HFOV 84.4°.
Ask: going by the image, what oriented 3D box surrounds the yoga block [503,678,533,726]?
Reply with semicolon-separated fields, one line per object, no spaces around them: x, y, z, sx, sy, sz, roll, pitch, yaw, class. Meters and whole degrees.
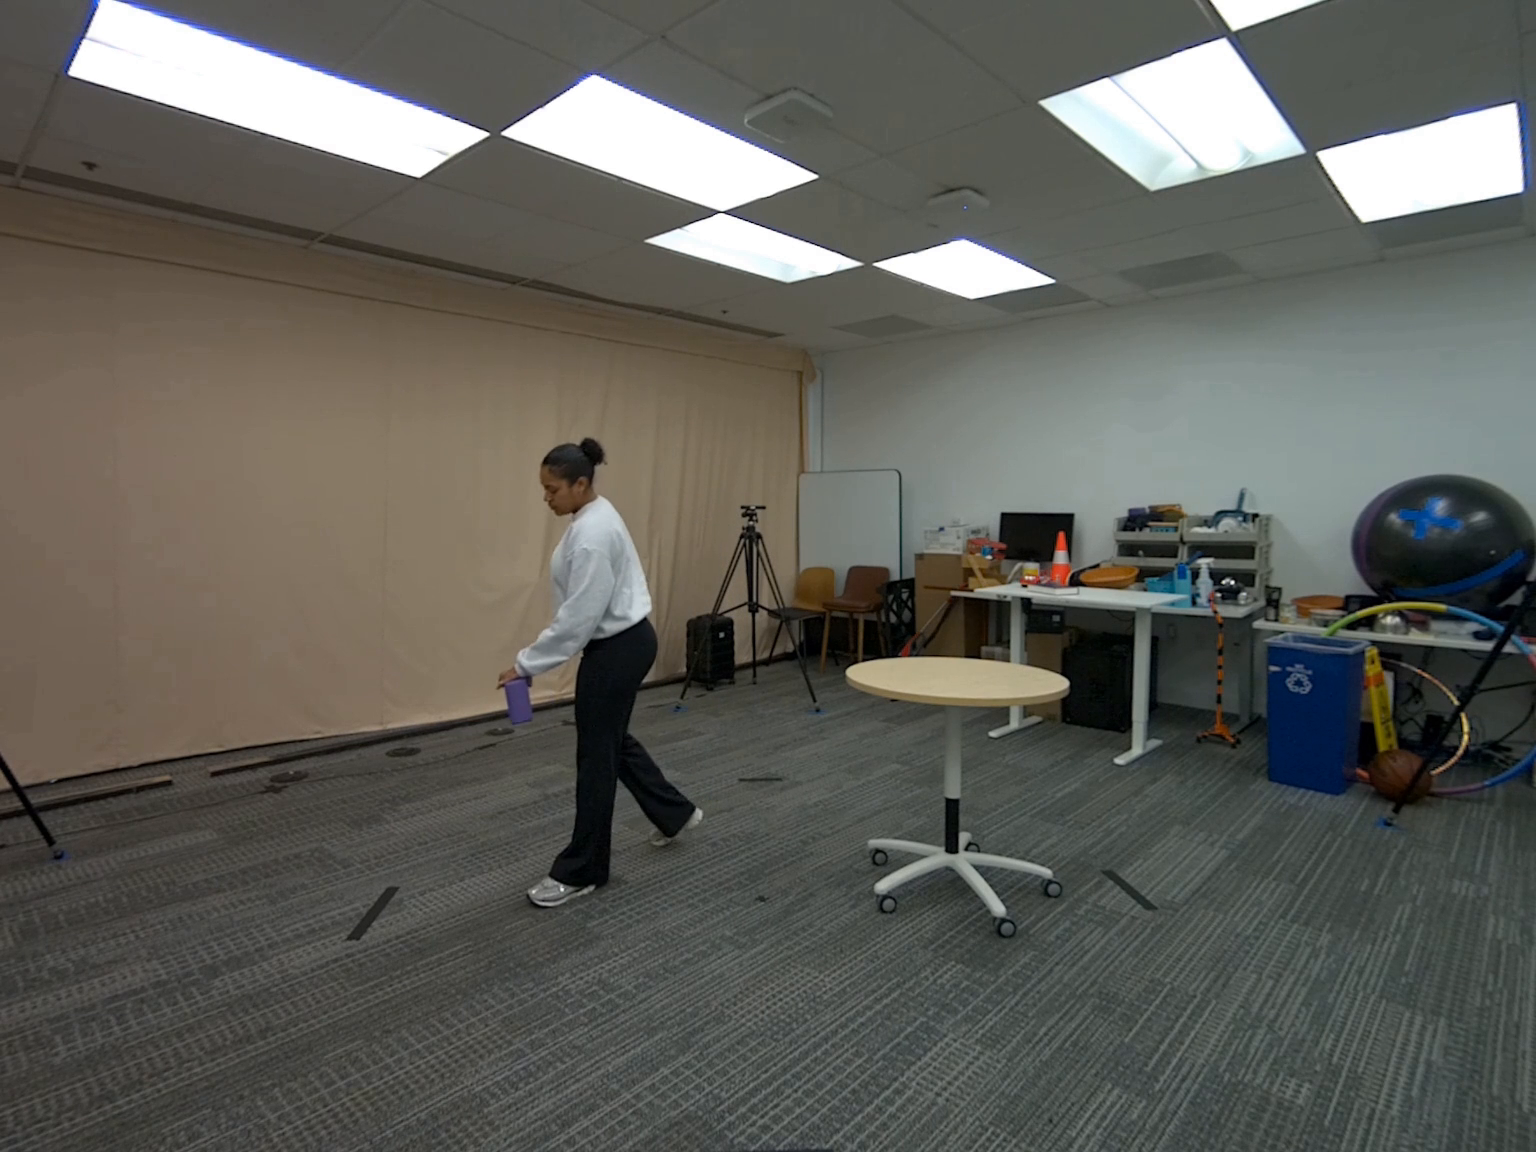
-0.881;0.422;2.979;0.075;0.148;0.233;-8;6;-15;yoga block
